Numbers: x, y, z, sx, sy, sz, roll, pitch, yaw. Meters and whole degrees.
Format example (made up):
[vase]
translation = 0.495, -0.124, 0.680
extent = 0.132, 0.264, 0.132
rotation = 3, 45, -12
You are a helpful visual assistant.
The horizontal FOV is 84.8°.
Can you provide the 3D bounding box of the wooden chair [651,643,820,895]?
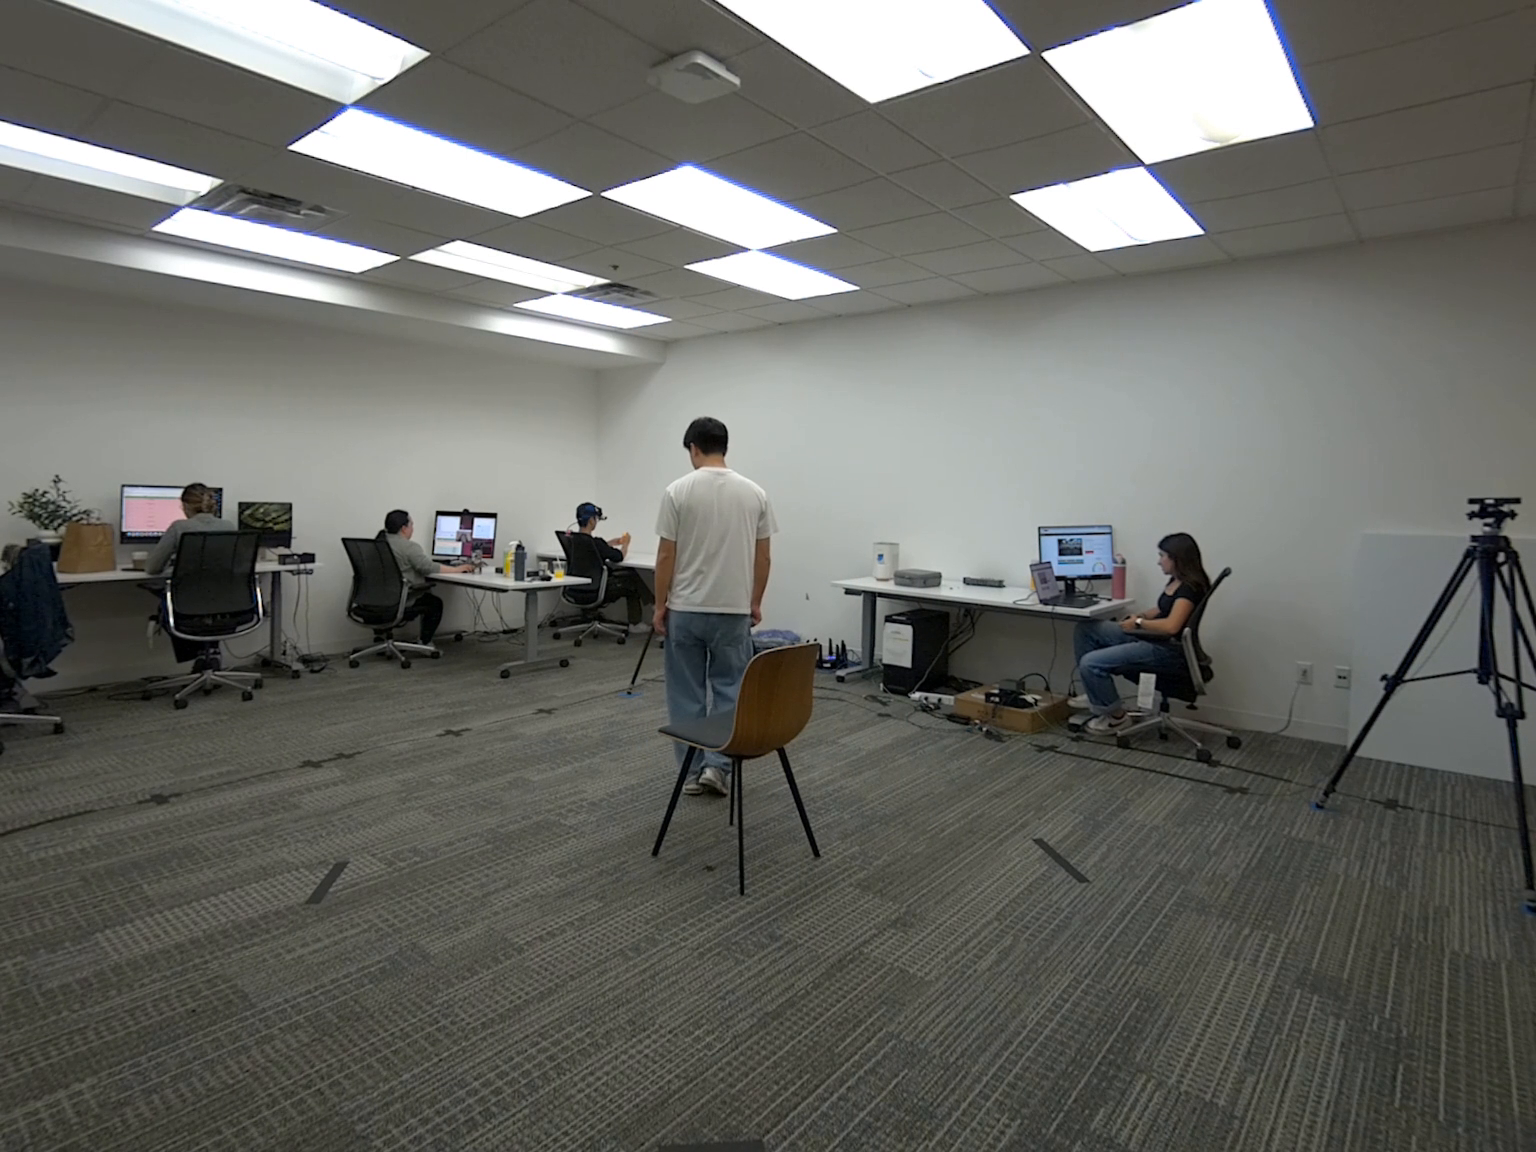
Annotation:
[wooden chair]
translation = -0.124, 0.632, 3.196
extent = 0.542, 0.873, 0.463
rotation = 9, 7, 40
